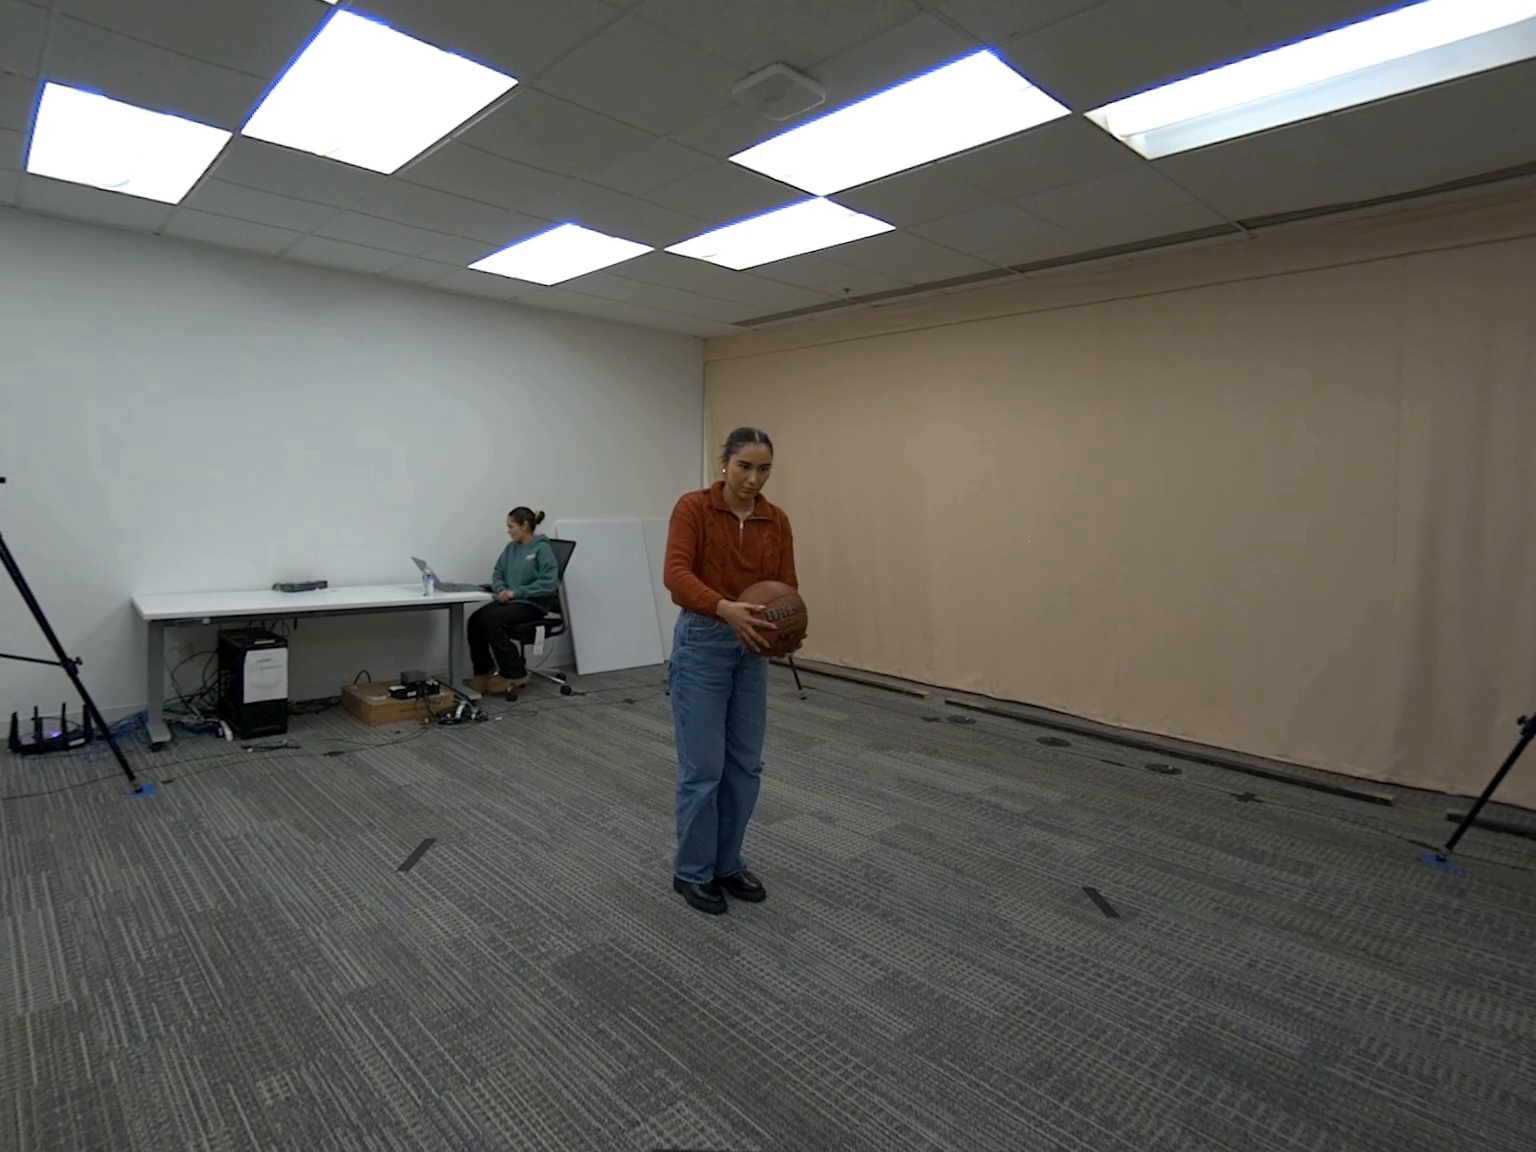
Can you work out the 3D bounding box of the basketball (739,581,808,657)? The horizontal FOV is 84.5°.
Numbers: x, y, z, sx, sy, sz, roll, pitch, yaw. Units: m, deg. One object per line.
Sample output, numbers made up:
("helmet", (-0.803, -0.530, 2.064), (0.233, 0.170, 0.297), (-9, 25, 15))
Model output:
("basketball", (-0.012, 0.134, 2.630), (0.236, 0.235, 0.237), (1, 4, -1))
